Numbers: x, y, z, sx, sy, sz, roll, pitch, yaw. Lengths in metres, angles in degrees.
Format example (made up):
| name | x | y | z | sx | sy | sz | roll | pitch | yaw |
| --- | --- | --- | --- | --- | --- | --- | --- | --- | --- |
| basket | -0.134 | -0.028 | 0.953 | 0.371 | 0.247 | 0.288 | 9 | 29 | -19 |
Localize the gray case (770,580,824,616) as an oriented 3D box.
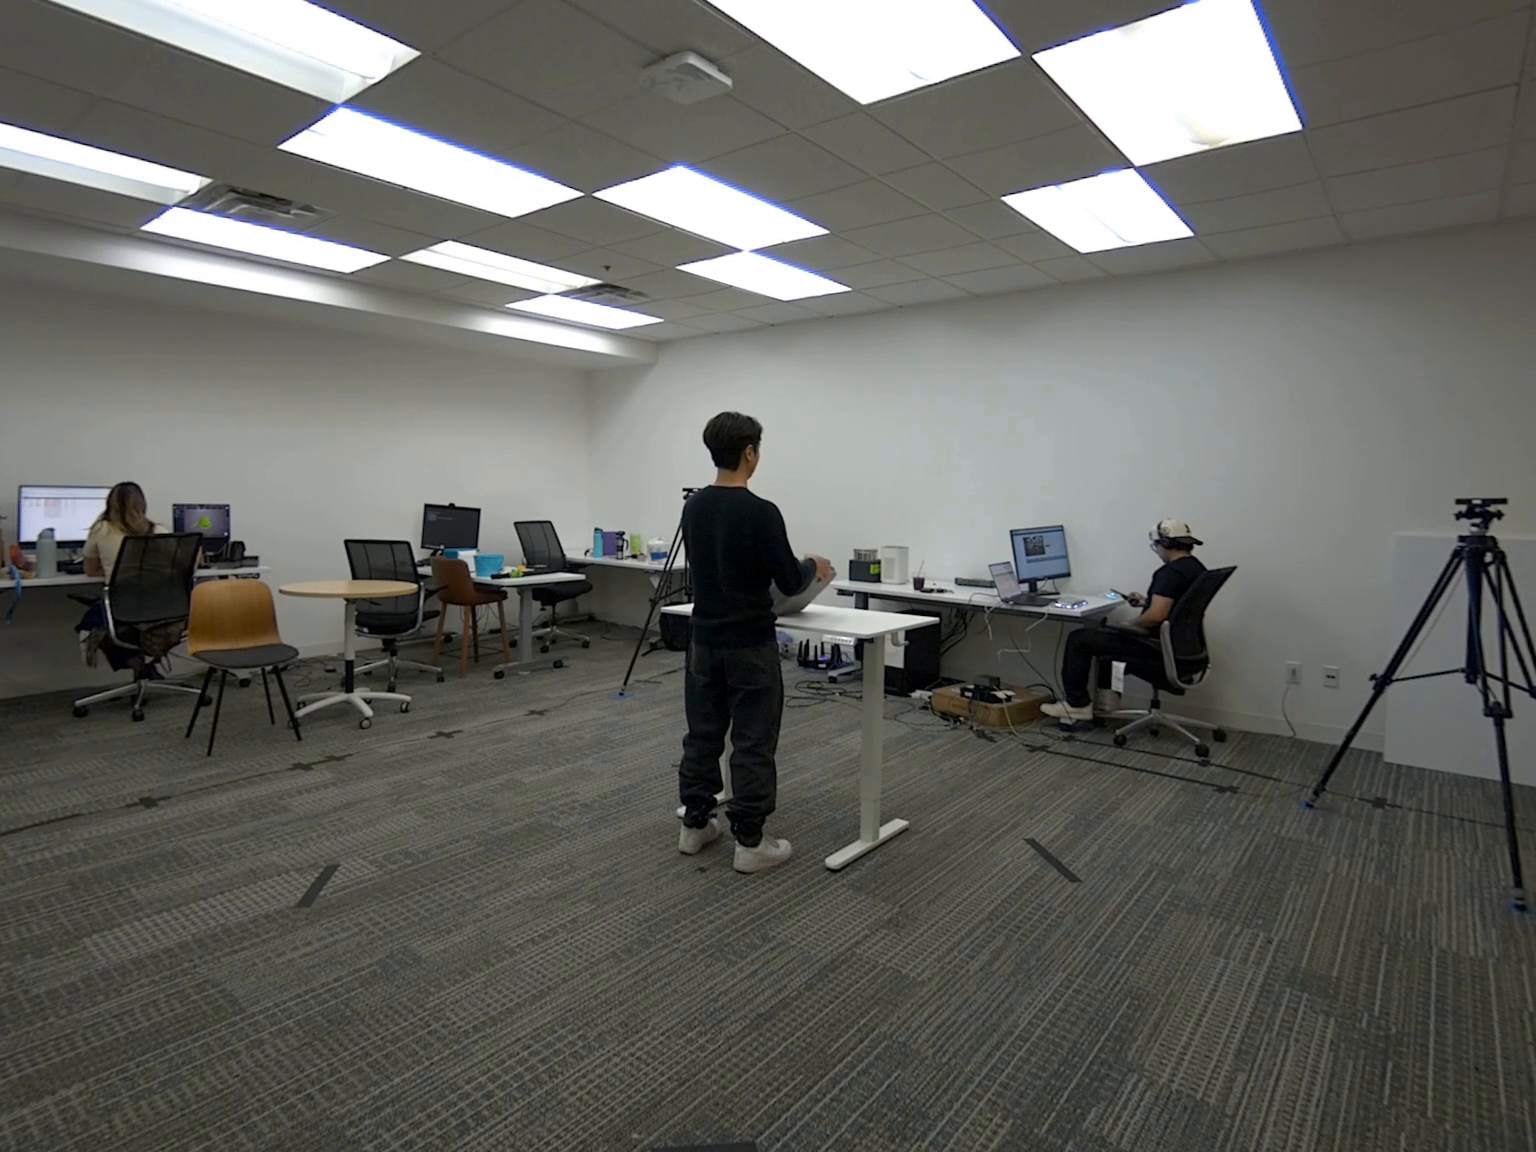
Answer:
| name | x | y | z | sx | sy | sz | roll | pitch | yaw |
| --- | --- | --- | --- | --- | --- | --- | --- | --- | --- |
| gray case | 0.121 | 0.041 | 3.491 | 0.256 | 0.107 | 0.253 | -49 | -22 | 26 |
